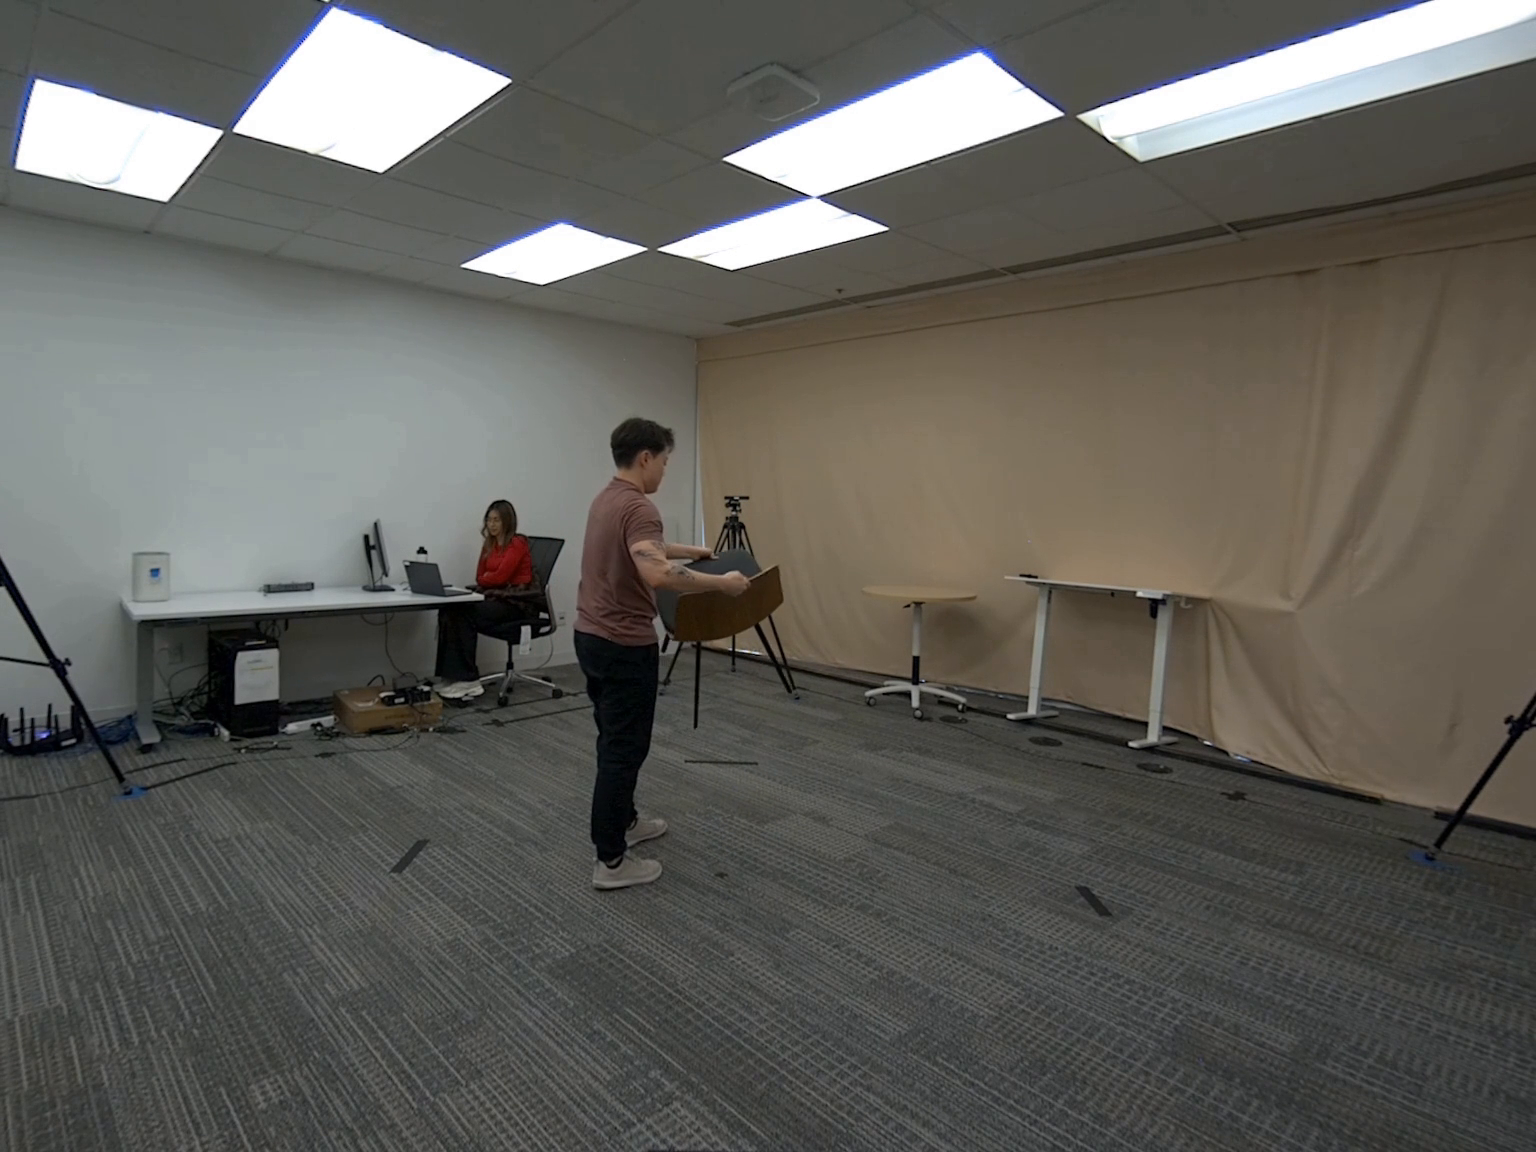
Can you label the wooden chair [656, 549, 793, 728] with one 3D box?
[{"bbox_3d":[-0.214,0.132,3.442,0.475,0.857,0.539,-18,51,-14],"label":"wooden chair"}]
